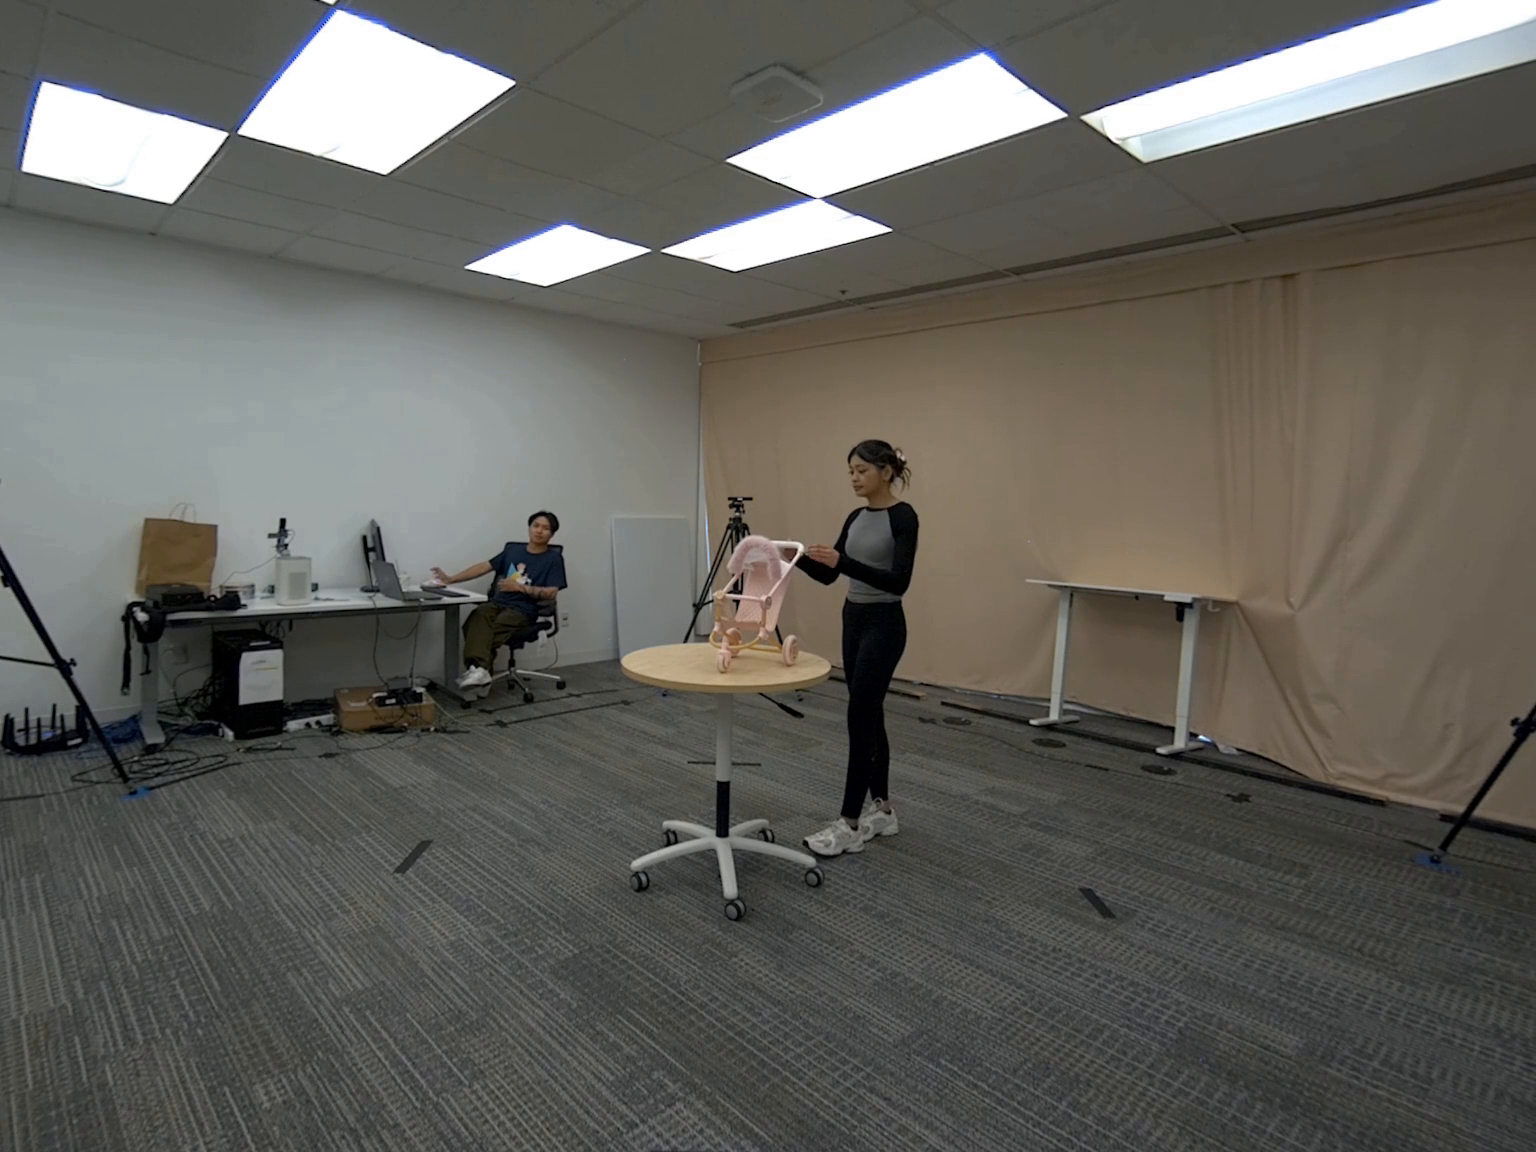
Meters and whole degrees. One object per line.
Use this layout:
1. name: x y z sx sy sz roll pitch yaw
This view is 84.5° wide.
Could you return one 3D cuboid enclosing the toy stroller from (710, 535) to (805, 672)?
1. toy stroller: -0.062 0.096 3.046 0.288 0.538 0.331 3 -11 35
